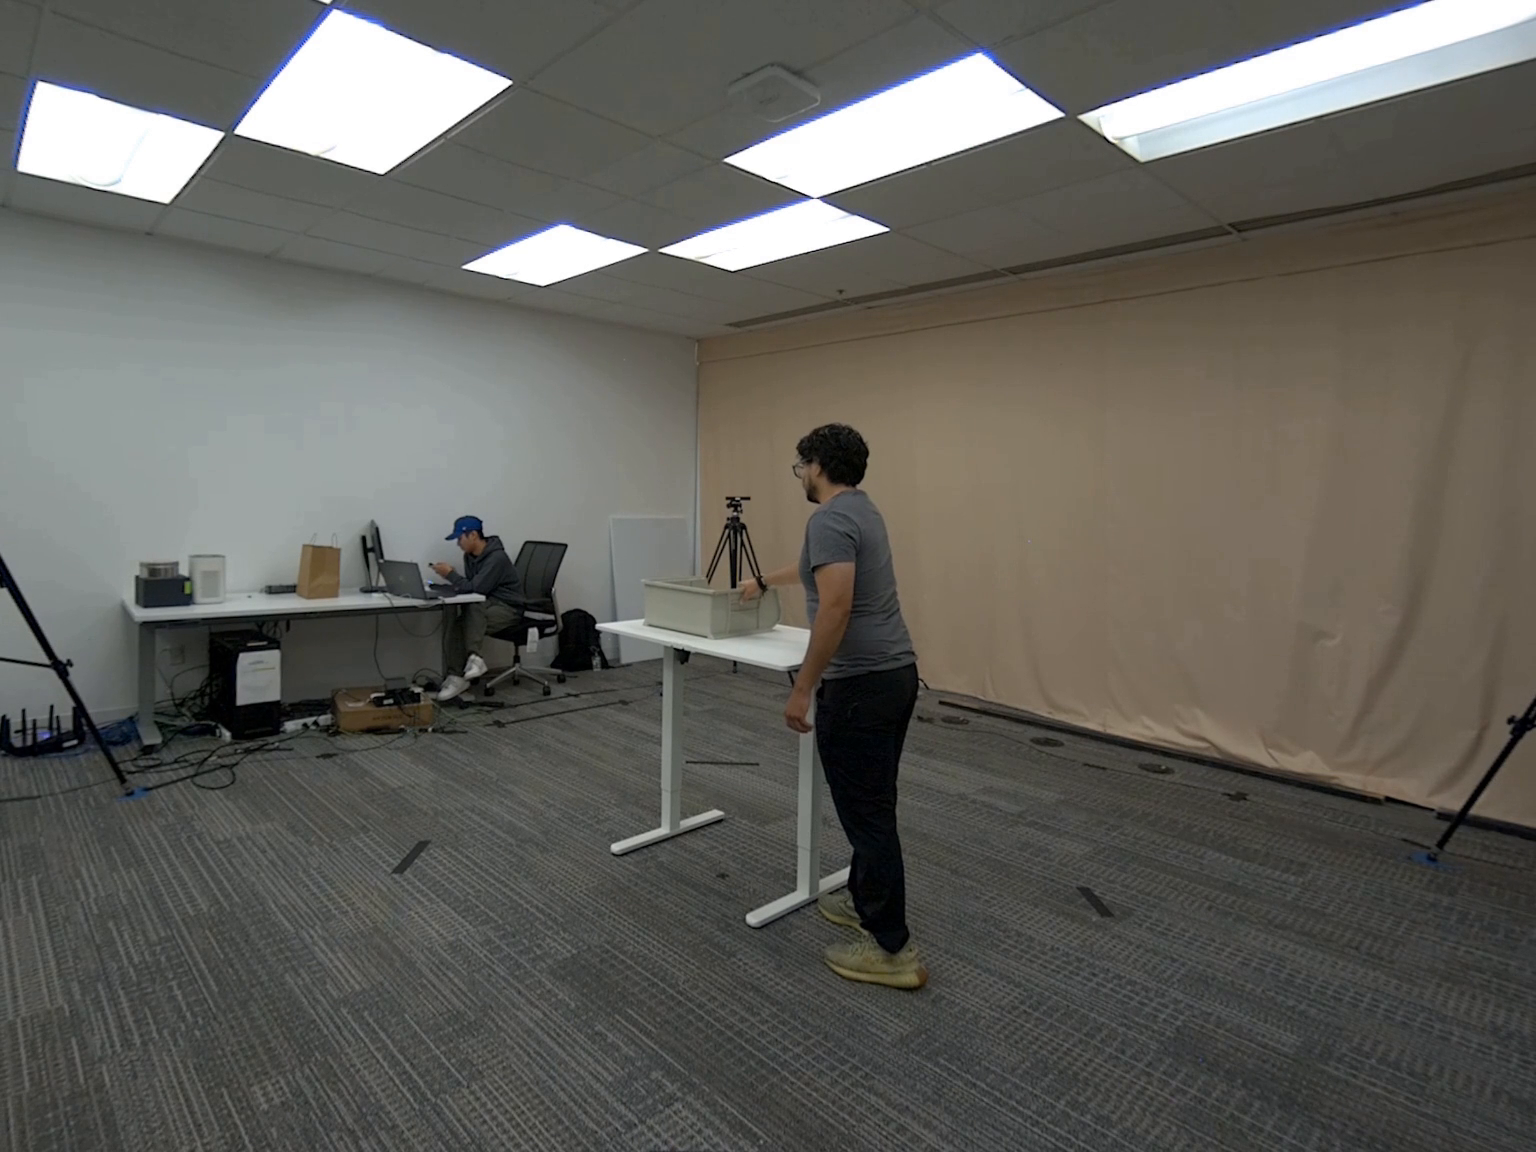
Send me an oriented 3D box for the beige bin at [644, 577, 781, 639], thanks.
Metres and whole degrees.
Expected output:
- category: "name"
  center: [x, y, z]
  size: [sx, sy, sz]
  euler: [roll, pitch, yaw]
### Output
- category: "beige bin"
  center: [-0.226, 0.116, 3.284]
  size: [0.369, 0.188, 0.433]
  euler: [-5, 9, -44]
